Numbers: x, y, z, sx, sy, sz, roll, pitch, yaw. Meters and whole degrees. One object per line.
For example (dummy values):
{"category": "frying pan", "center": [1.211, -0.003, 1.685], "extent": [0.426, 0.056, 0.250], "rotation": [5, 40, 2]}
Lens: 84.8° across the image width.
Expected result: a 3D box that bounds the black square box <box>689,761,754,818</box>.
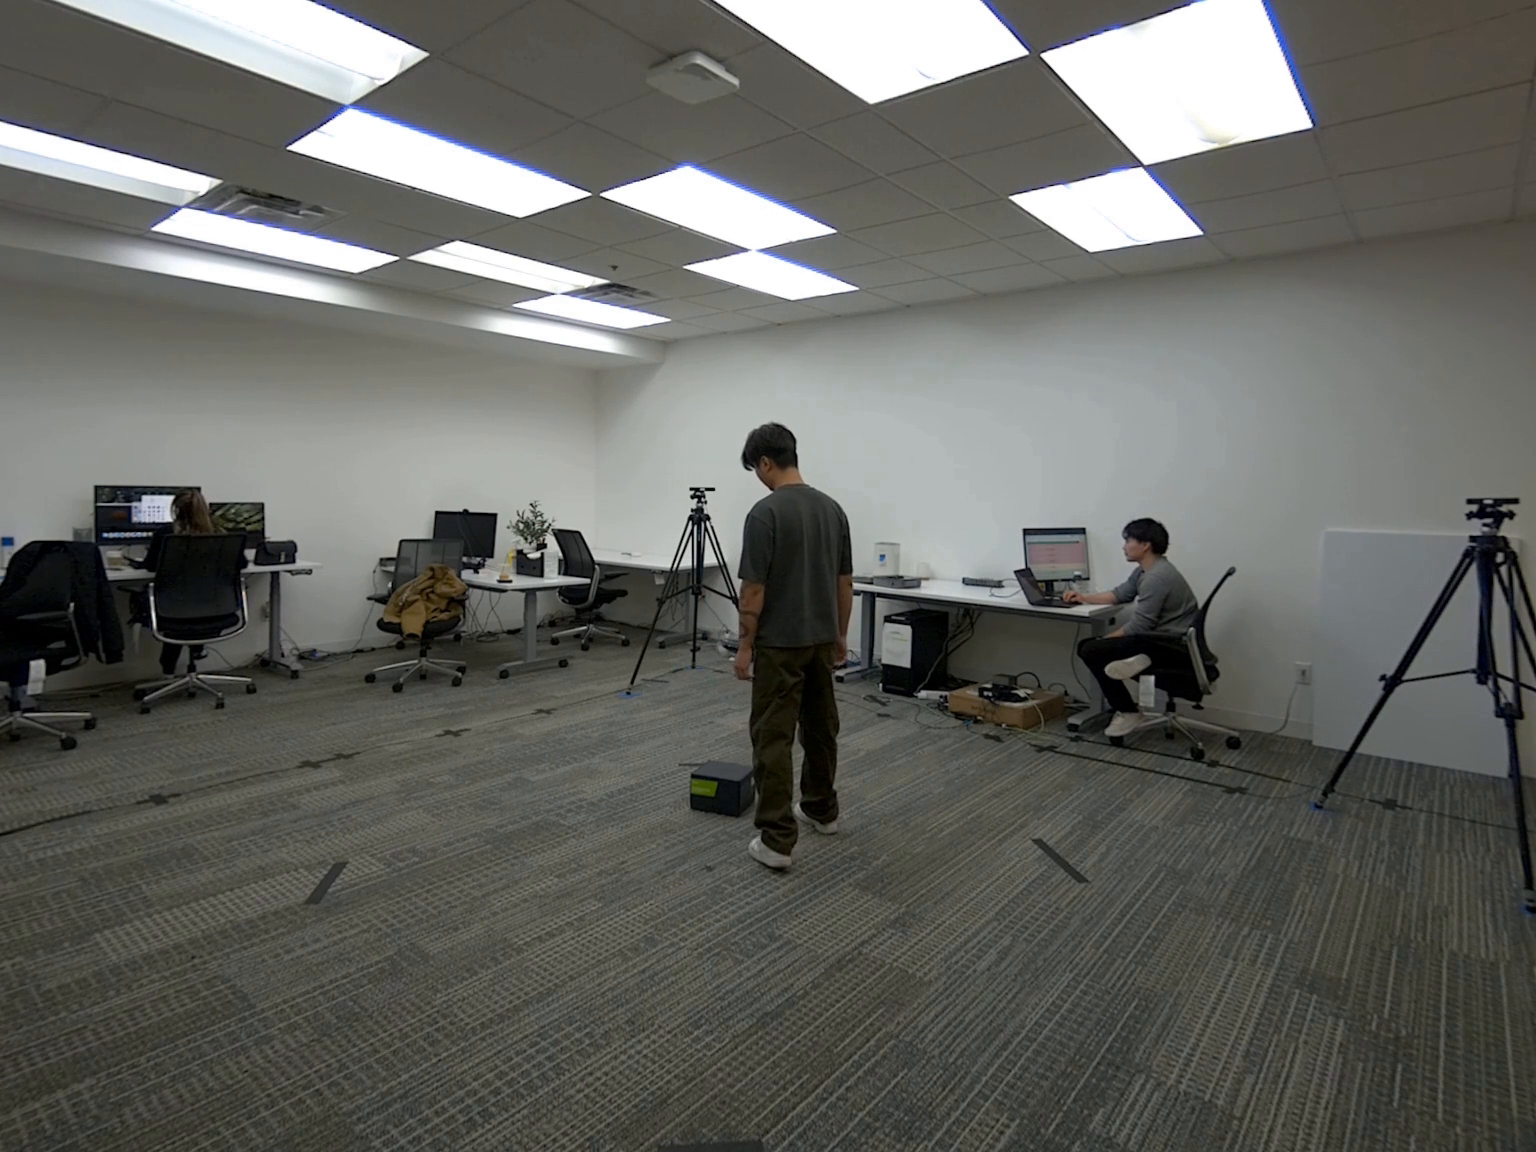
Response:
{"category": "black square box", "center": [-0.207, 0.919, 3.734], "extent": [0.233, 0.155, 0.213], "rotation": [3, 5, 20]}
